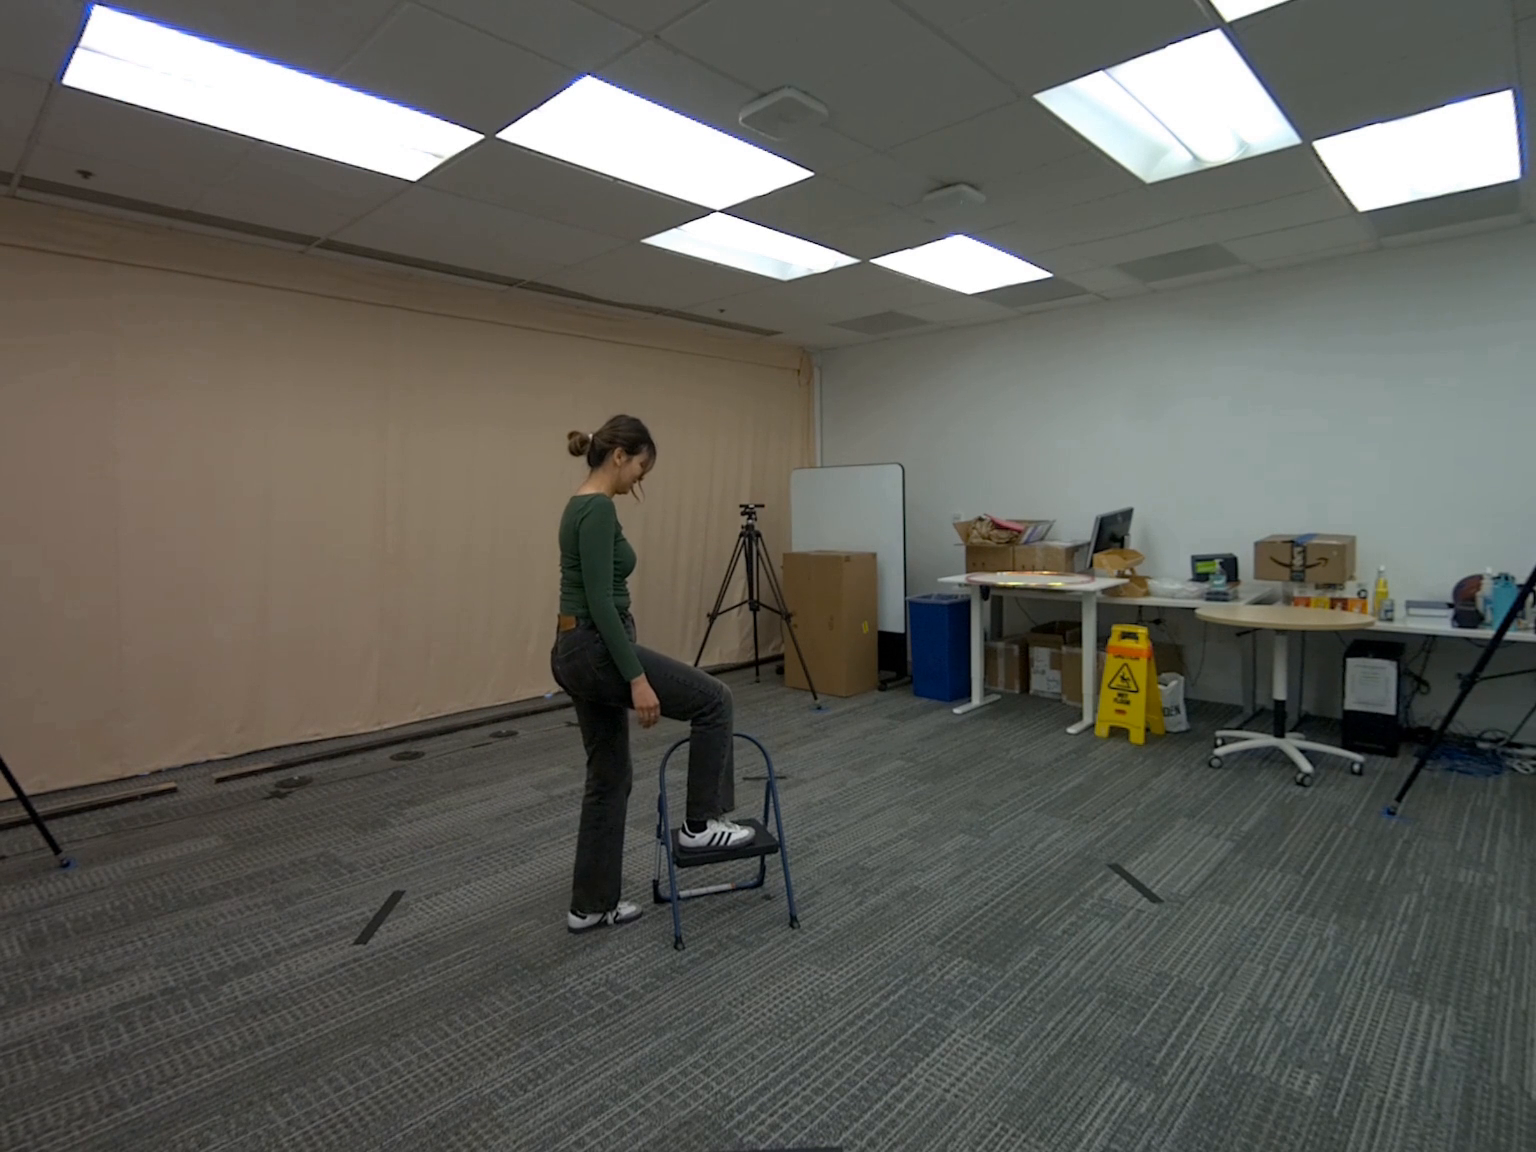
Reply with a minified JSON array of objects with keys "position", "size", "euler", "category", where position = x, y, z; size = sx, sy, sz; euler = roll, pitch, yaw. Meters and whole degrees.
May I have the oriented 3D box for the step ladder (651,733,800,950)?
[{"position":[-0.154,0.853,2.853],"size":[0.422,0.605,0.357],"euler":[-2,3,-20],"category":"step ladder"}]
